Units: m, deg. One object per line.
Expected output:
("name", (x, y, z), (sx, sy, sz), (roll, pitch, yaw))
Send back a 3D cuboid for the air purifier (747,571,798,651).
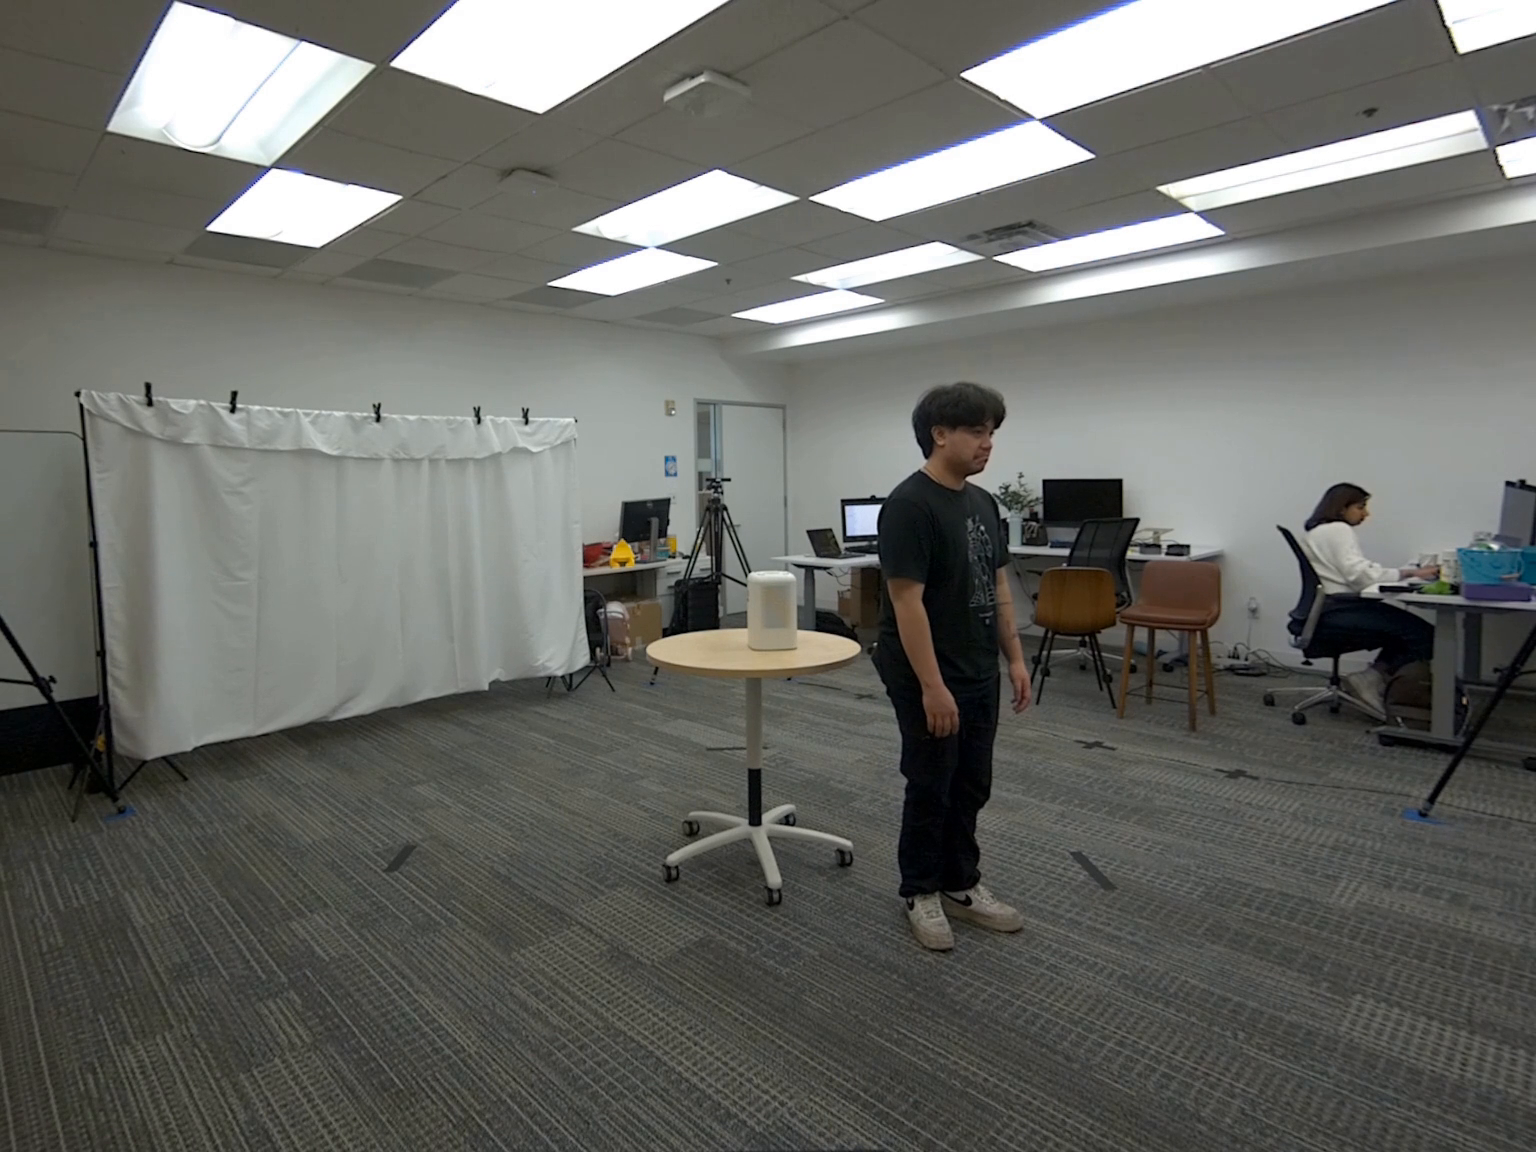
("air purifier", (0.013, 0.122, 3.060), (0.171, 0.264, 0.172), (0, 4, -6))
